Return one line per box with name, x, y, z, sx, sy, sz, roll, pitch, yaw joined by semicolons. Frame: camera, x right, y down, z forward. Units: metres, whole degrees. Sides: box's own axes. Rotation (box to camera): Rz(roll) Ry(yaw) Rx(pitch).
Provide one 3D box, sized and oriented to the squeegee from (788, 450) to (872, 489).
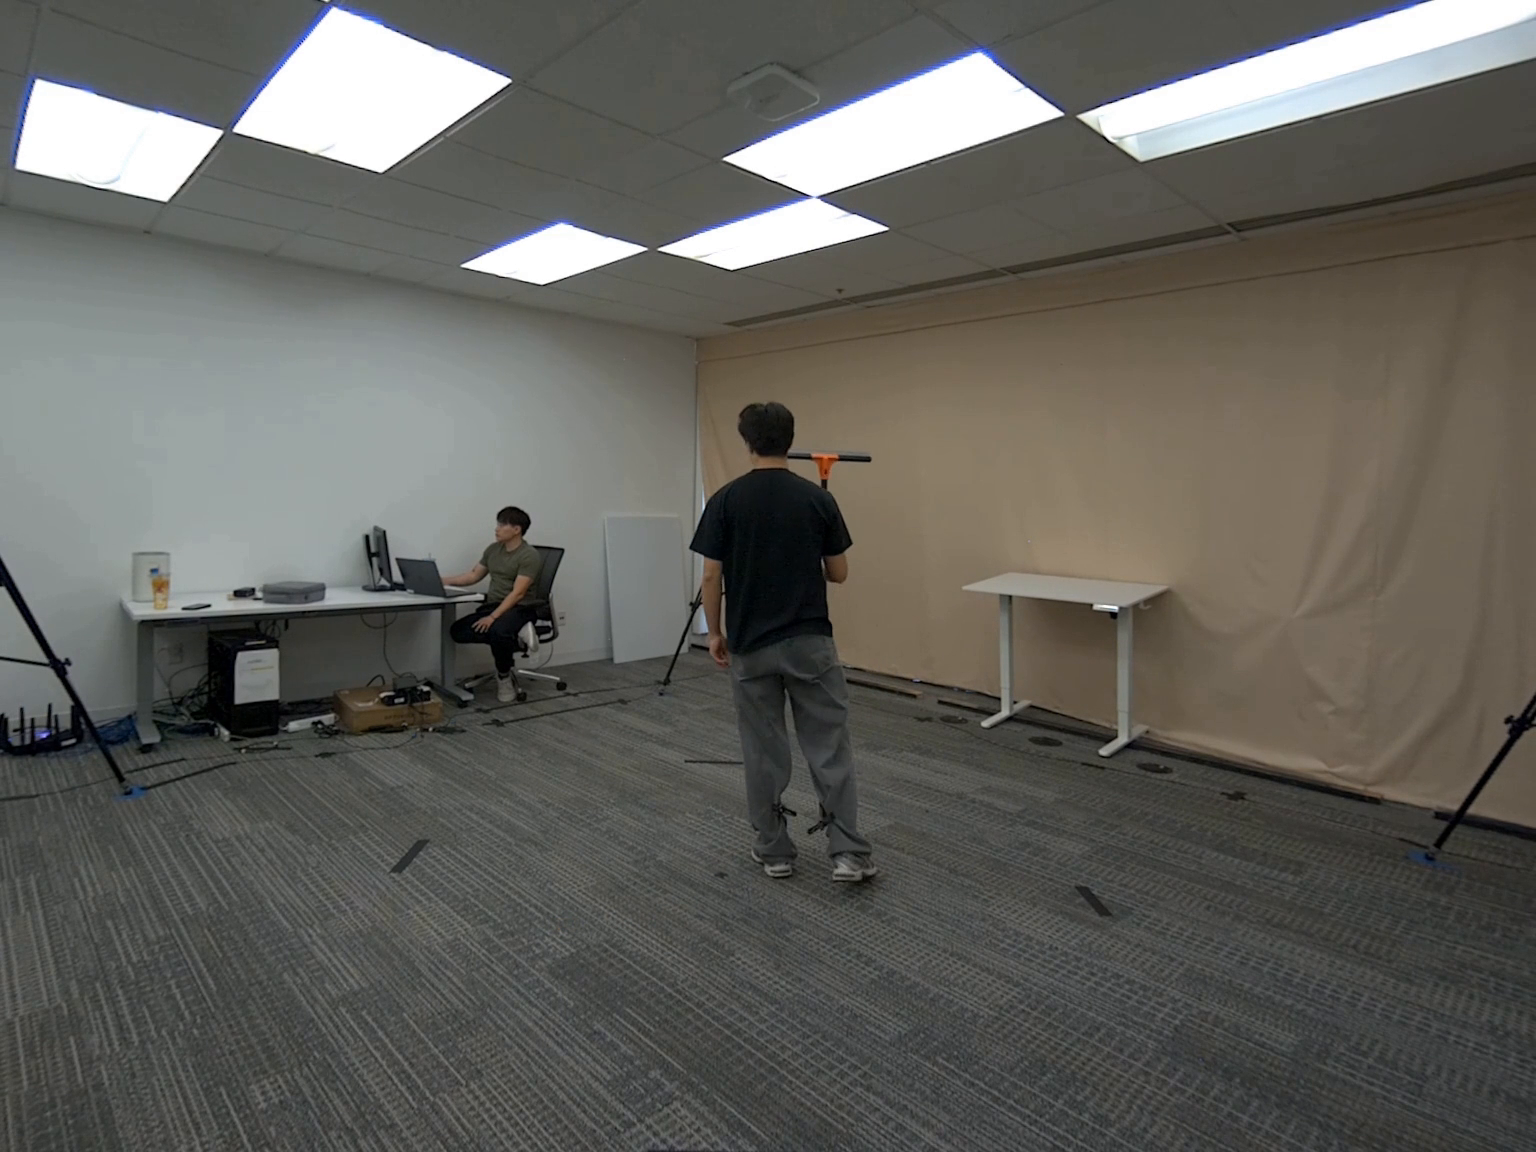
squeegee;0.235;0.251;3.475;0.431;1.540;0.053;0;-2;-19
